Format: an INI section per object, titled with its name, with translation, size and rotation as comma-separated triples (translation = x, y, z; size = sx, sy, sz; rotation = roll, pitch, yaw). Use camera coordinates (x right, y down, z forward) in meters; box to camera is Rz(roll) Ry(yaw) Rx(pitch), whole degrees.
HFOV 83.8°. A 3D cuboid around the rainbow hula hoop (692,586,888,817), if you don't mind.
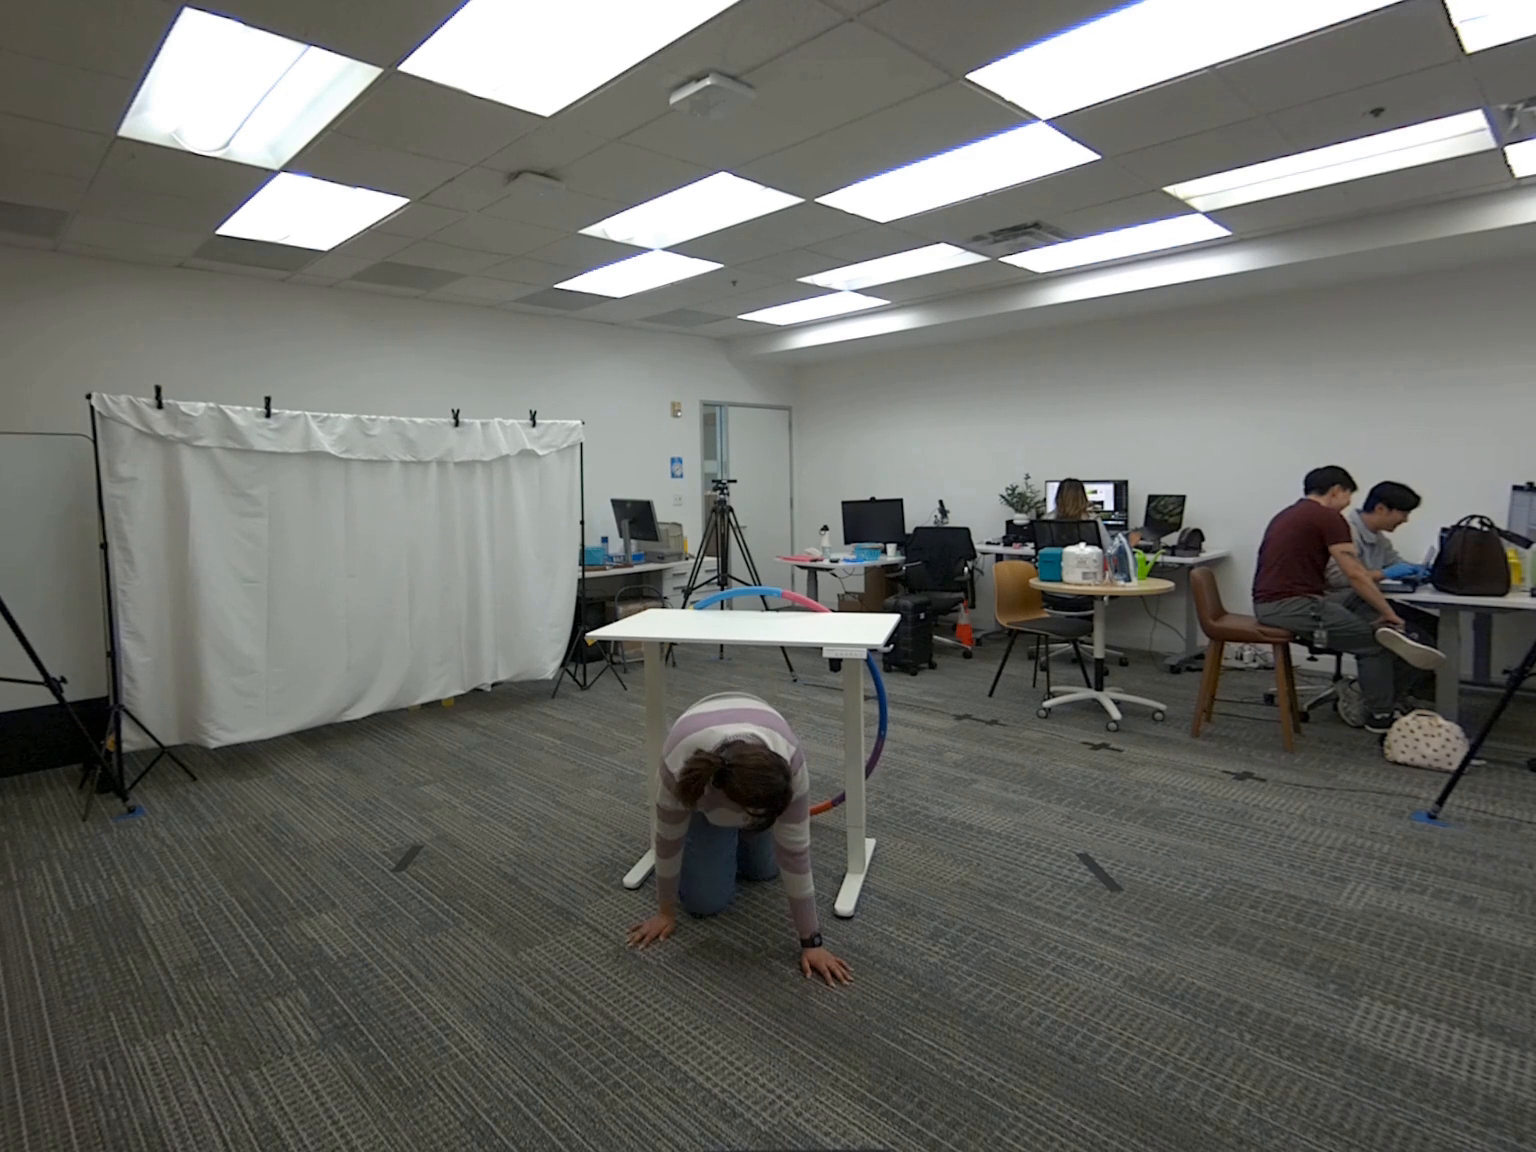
[rainbow hula hoop]
translation = -0.012, 0.529, 3.438
size = 0.995, 0.968, 0.035
rotation = 1, 11, 18
